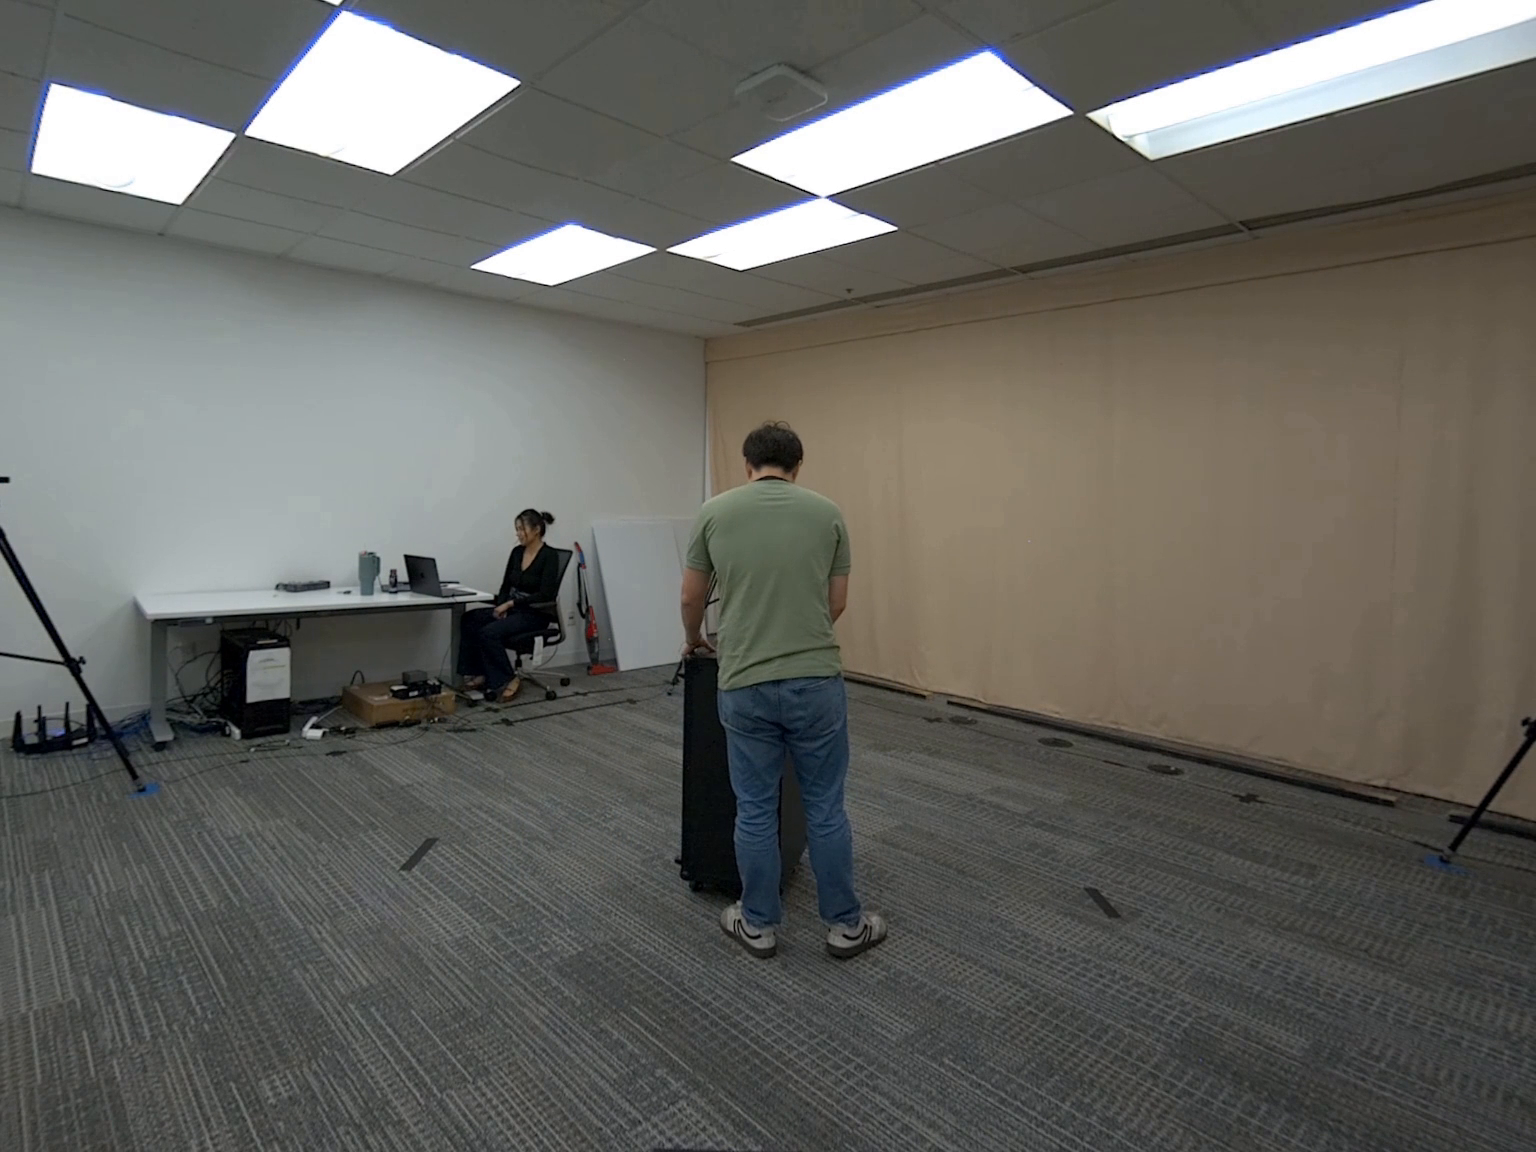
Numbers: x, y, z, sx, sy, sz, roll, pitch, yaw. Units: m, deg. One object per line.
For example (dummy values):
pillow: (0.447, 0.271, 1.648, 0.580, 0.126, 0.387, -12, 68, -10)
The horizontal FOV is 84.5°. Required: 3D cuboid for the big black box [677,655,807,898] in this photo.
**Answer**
big black box: (-0.089, 0.687, 3.060, 0.401, 0.859, 0.516, 2, 4, 14)
